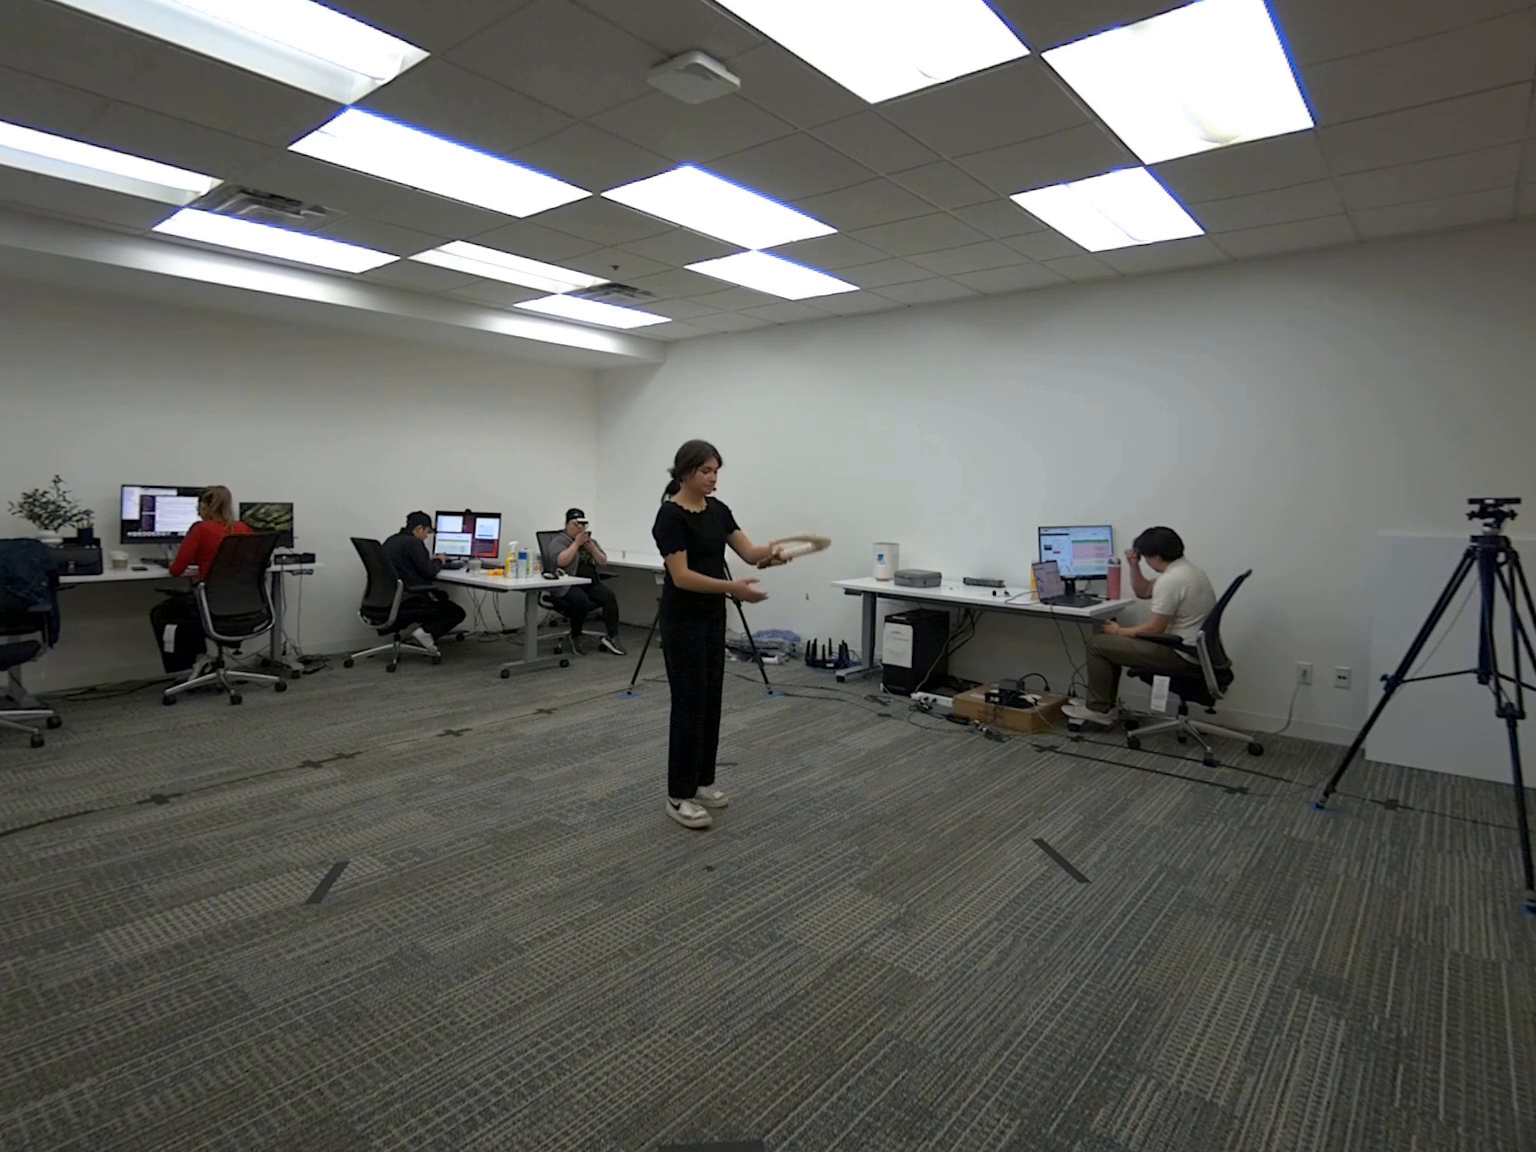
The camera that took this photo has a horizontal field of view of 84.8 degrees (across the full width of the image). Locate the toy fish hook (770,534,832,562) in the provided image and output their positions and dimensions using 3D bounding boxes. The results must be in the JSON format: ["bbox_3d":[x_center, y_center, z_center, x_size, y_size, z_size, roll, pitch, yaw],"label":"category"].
[{"bbox_3d":[0.017,-0.097,3.396,0.218,0.049,0.513,13,-19,-25],"label":"toy fish hook"}]
